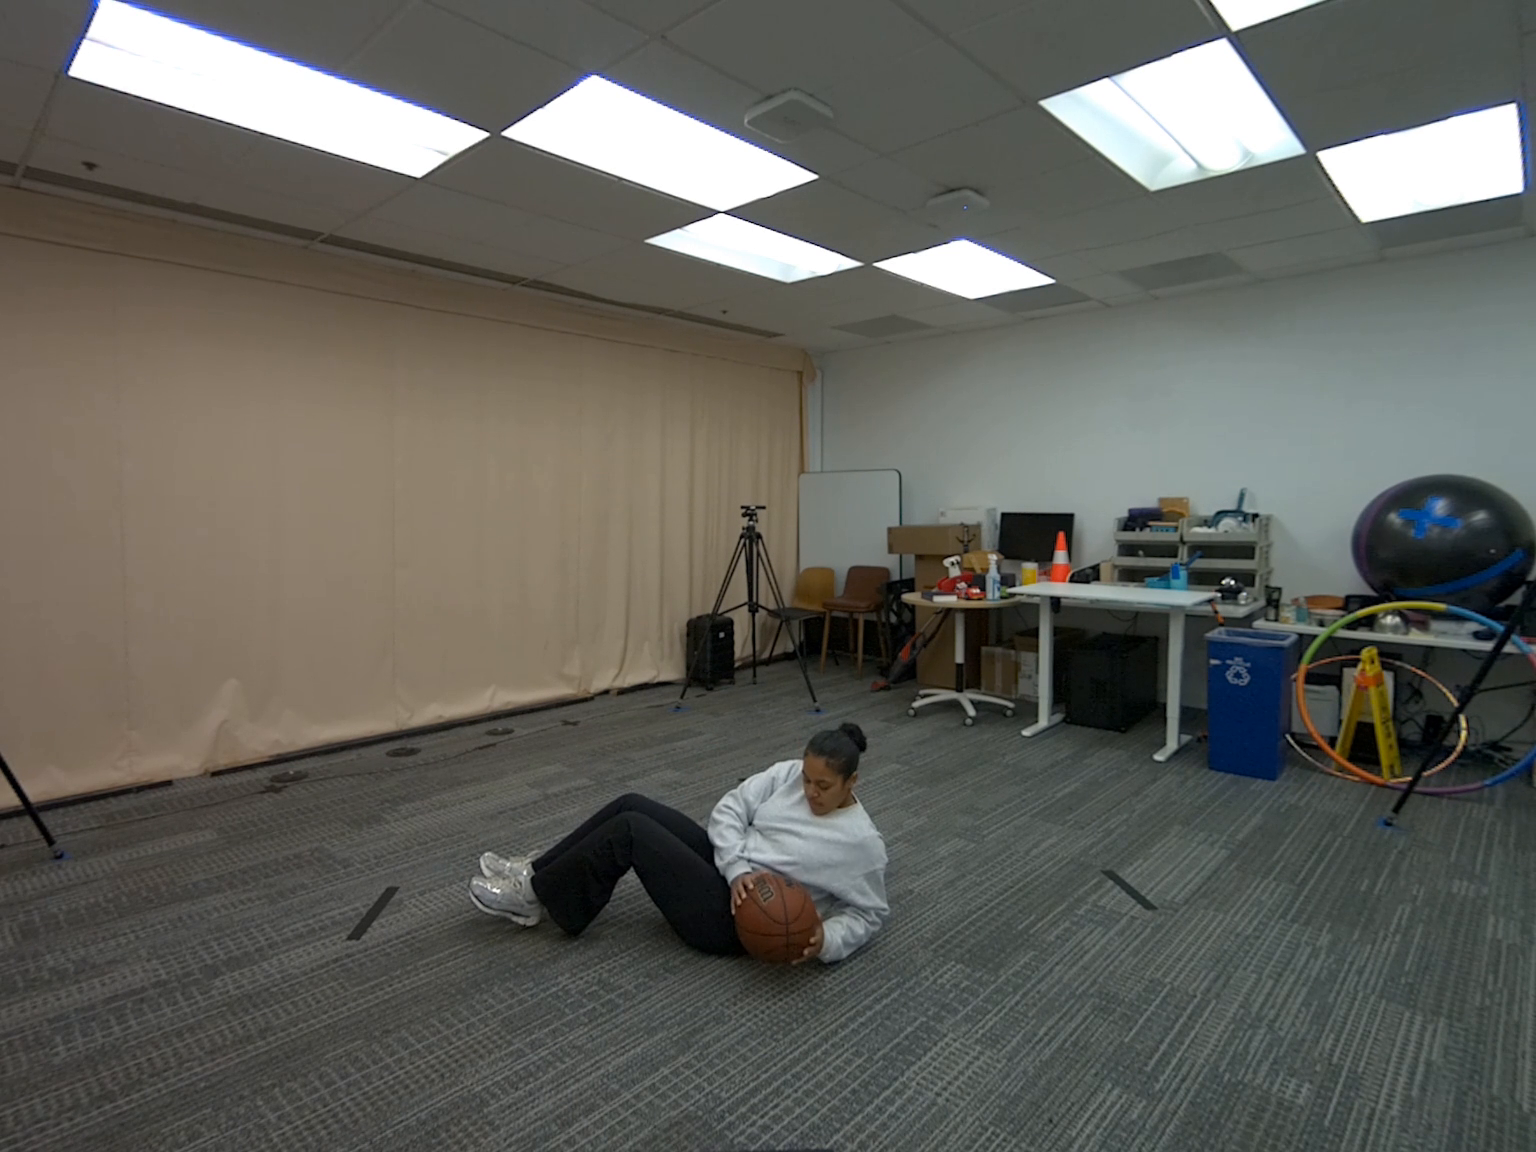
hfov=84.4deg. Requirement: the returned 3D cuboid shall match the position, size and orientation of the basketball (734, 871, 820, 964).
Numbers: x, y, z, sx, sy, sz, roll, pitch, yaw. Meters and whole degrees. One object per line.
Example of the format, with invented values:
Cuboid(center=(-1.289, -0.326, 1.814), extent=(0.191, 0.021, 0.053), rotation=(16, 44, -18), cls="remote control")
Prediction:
Cuboid(center=(0.015, 0.967, 2.446), extent=(0.236, 0.235, 0.237), rotation=(0, 4, -2), cls="basketball")
